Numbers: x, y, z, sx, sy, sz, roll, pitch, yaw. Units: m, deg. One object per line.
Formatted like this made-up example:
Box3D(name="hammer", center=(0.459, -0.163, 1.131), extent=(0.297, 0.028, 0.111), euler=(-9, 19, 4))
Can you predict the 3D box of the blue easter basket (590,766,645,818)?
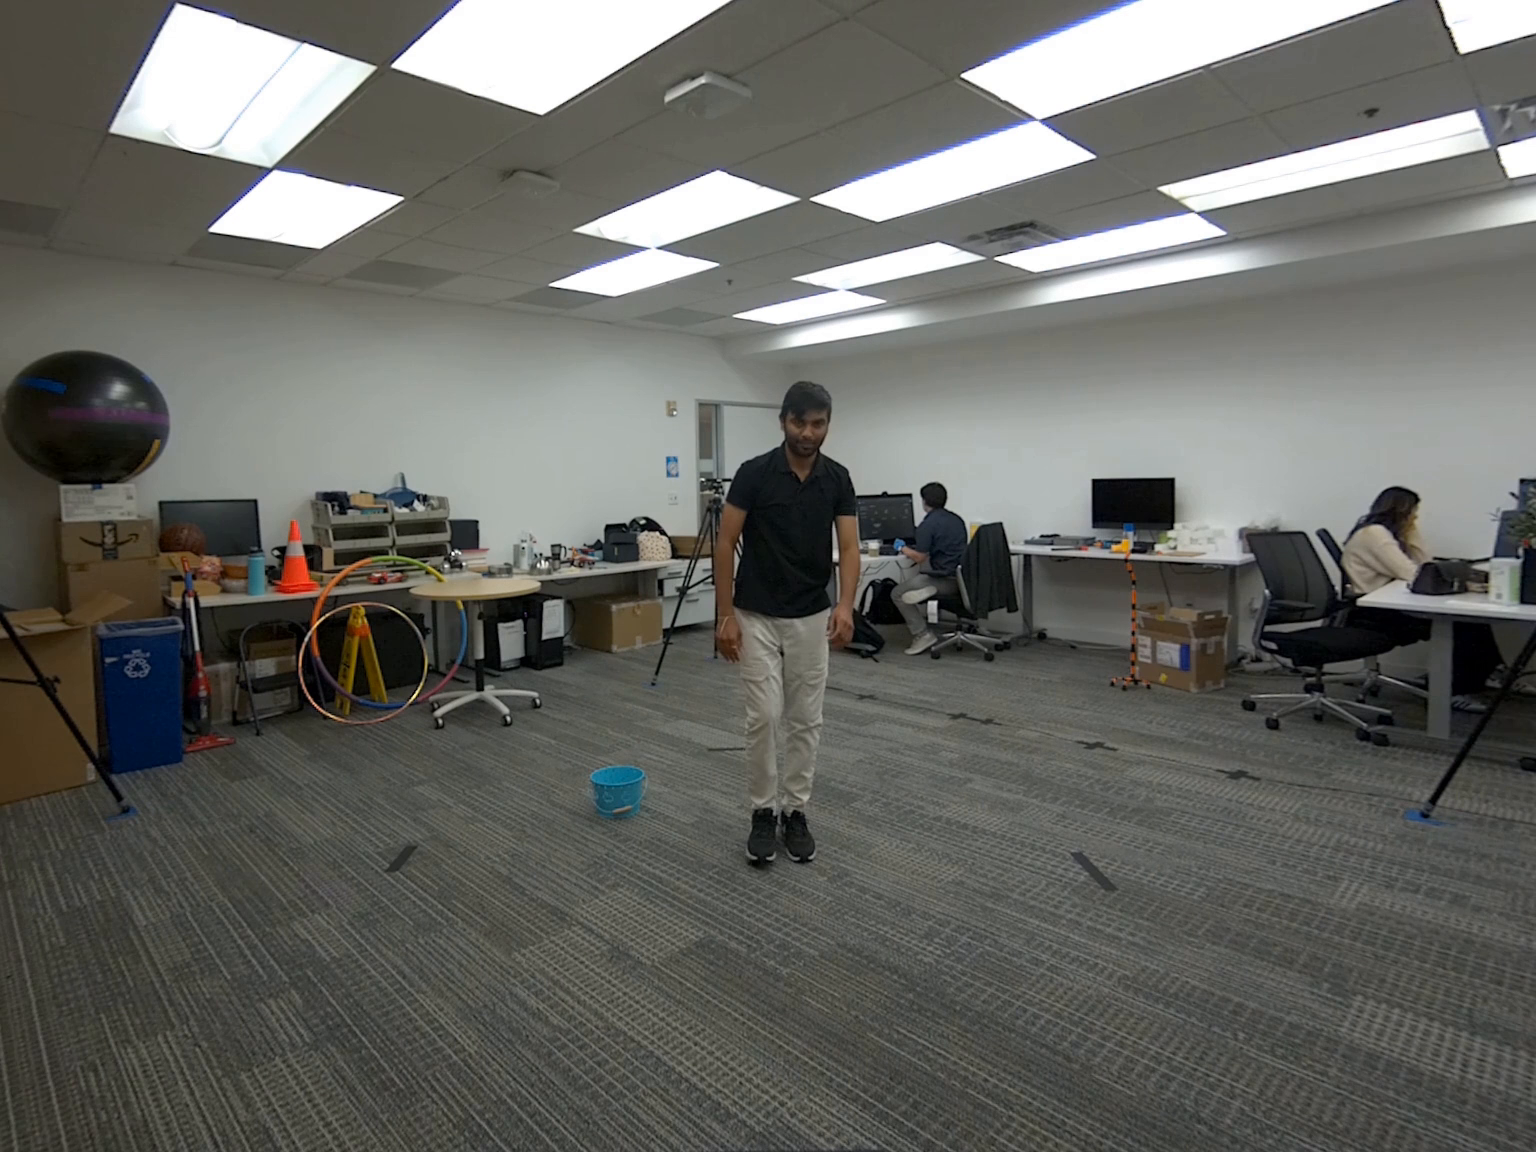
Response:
Box3D(name="blue easter basket", center=(-0.640, 0.919, 3.630), extent=(0.243, 0.155, 0.245), euler=(-1, 5, -2))
